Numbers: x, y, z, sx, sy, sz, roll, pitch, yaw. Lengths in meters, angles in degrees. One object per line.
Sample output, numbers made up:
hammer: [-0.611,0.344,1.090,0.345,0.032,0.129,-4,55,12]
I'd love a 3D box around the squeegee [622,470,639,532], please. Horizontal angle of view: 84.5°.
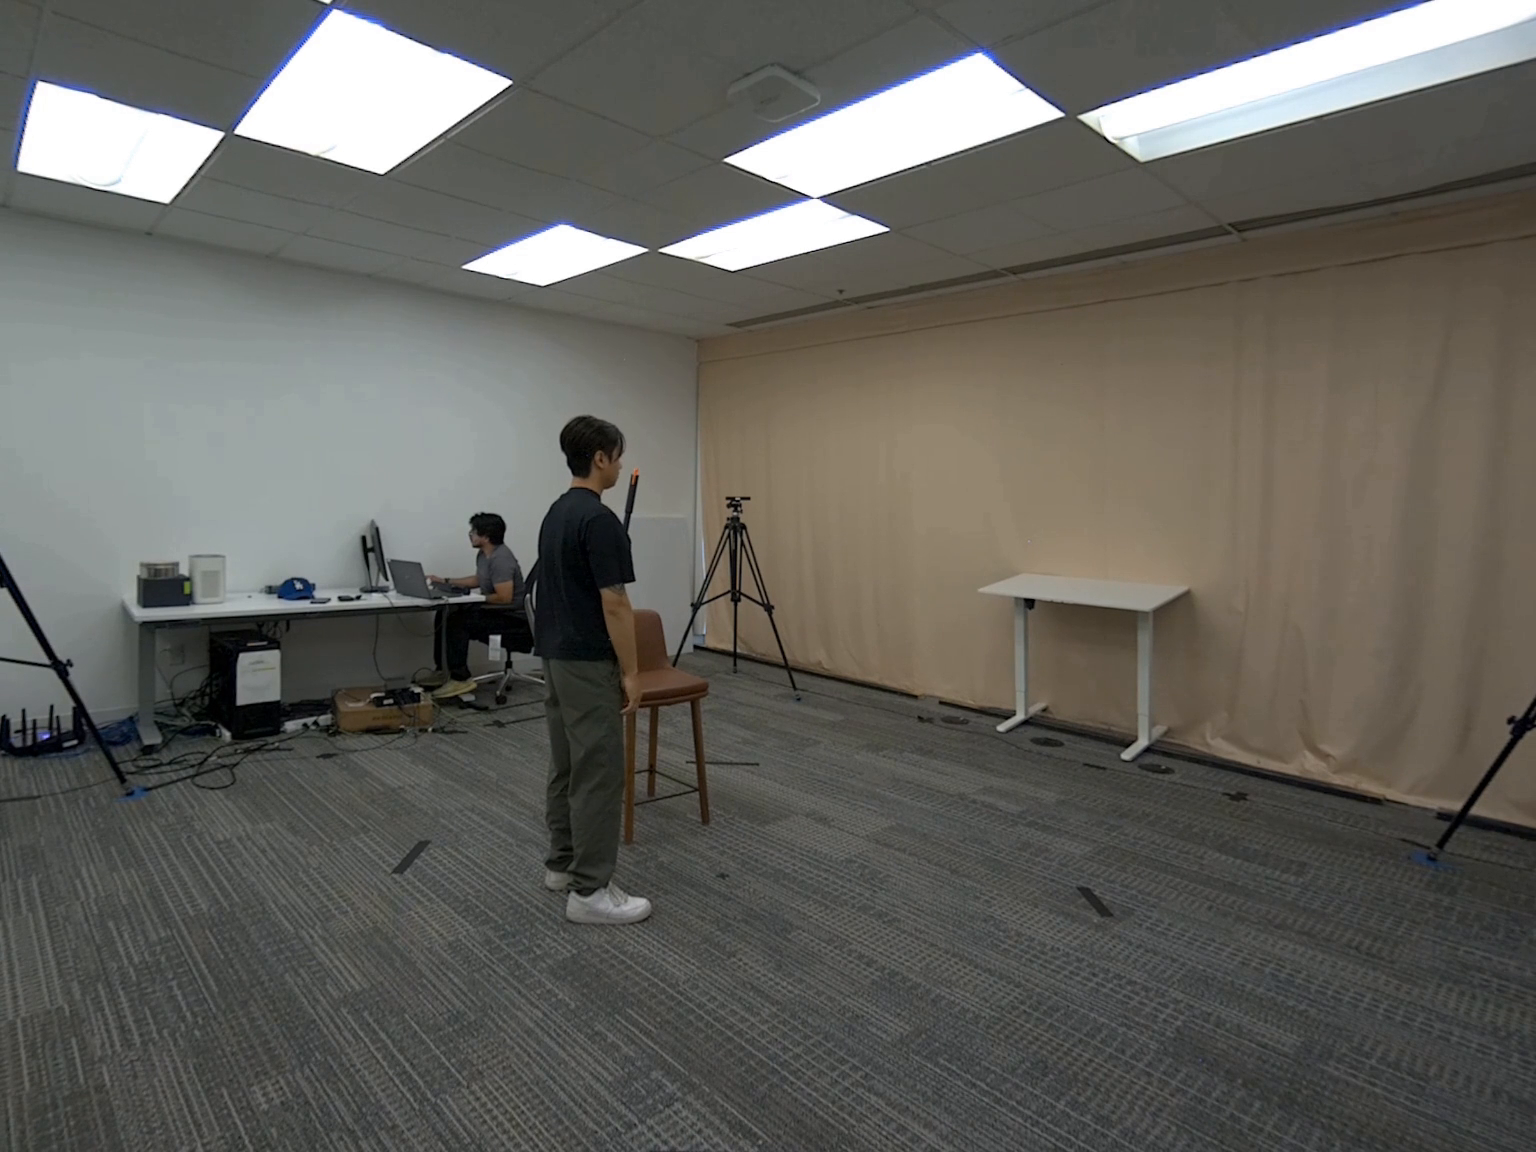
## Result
squeegee: [-0.676,0.298,3.475,0.052,1.541,0.446,9,-4,-27]
